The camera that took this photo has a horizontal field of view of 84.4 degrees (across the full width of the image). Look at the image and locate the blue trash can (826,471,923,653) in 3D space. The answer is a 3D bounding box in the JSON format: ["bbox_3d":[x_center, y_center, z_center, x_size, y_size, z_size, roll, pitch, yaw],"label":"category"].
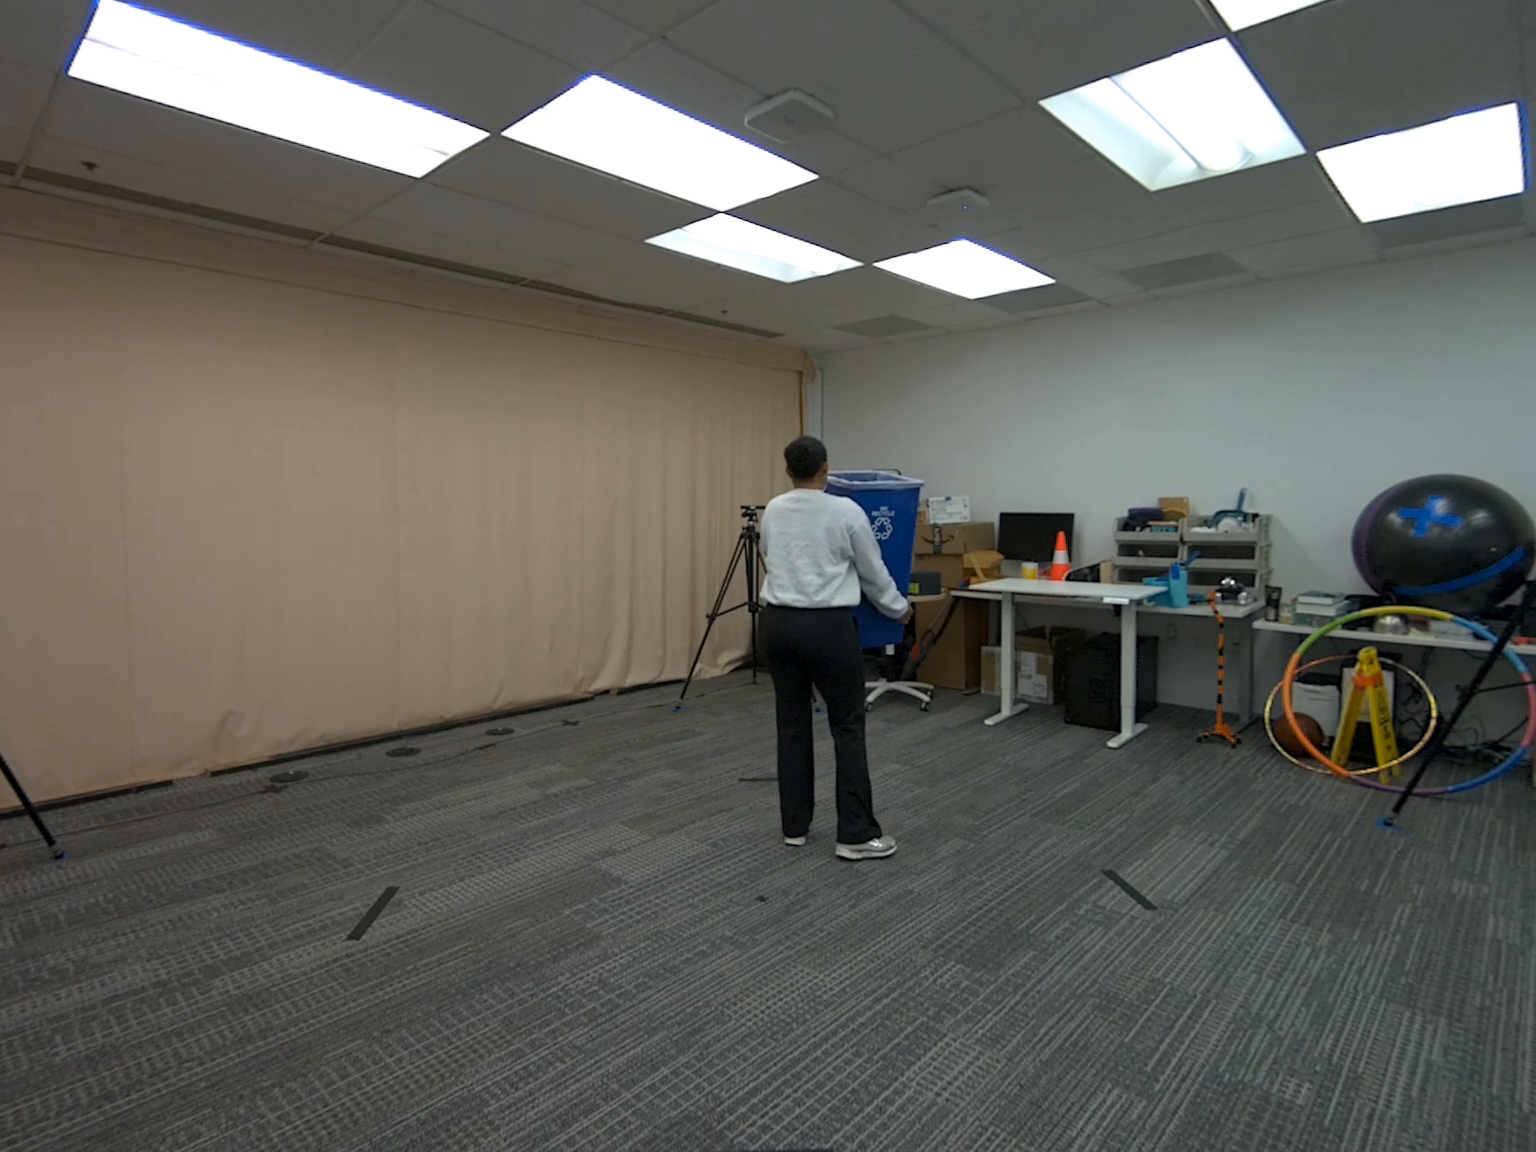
[{"bbox_3d":[0.418,-0.075,3.648,0.368,0.709,0.386,-4,12,-28],"label":"blue trash can"}]
